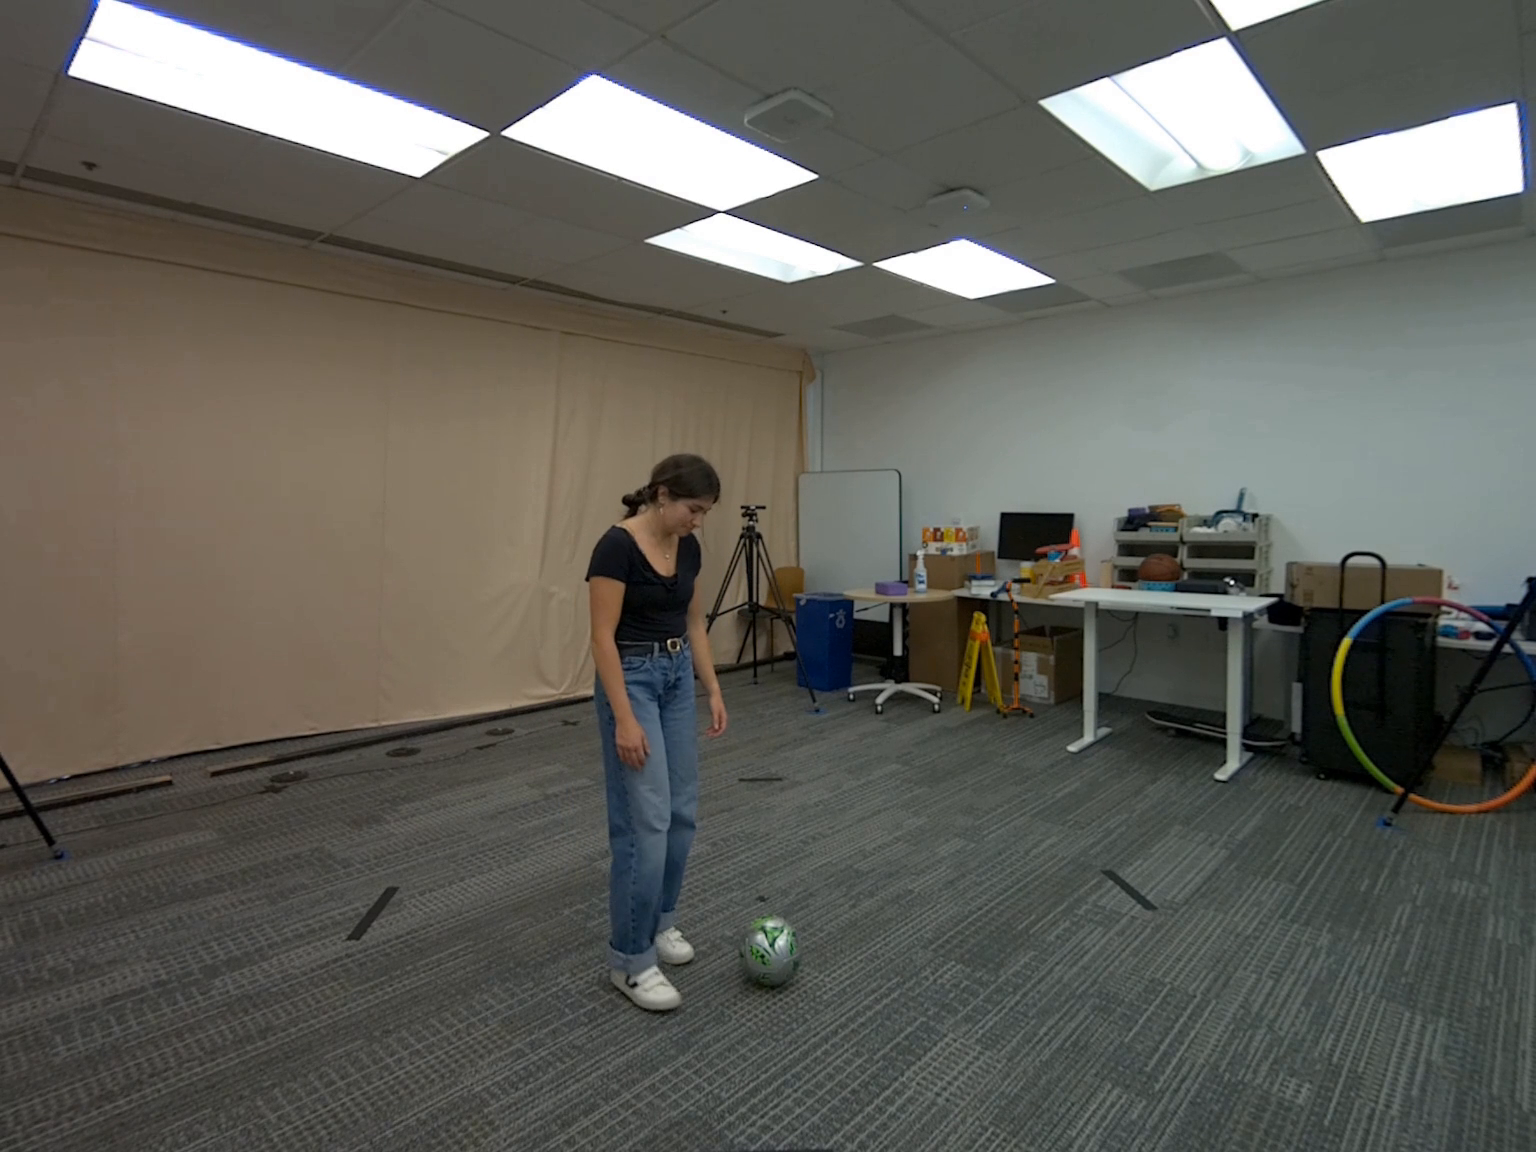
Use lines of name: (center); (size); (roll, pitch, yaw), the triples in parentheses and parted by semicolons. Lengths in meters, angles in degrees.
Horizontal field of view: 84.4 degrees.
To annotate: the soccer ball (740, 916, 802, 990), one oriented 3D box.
soccer ball: (0.022, 1.097, 2.448); (0.187, 0.187, 0.188); (0, 4, -2)
